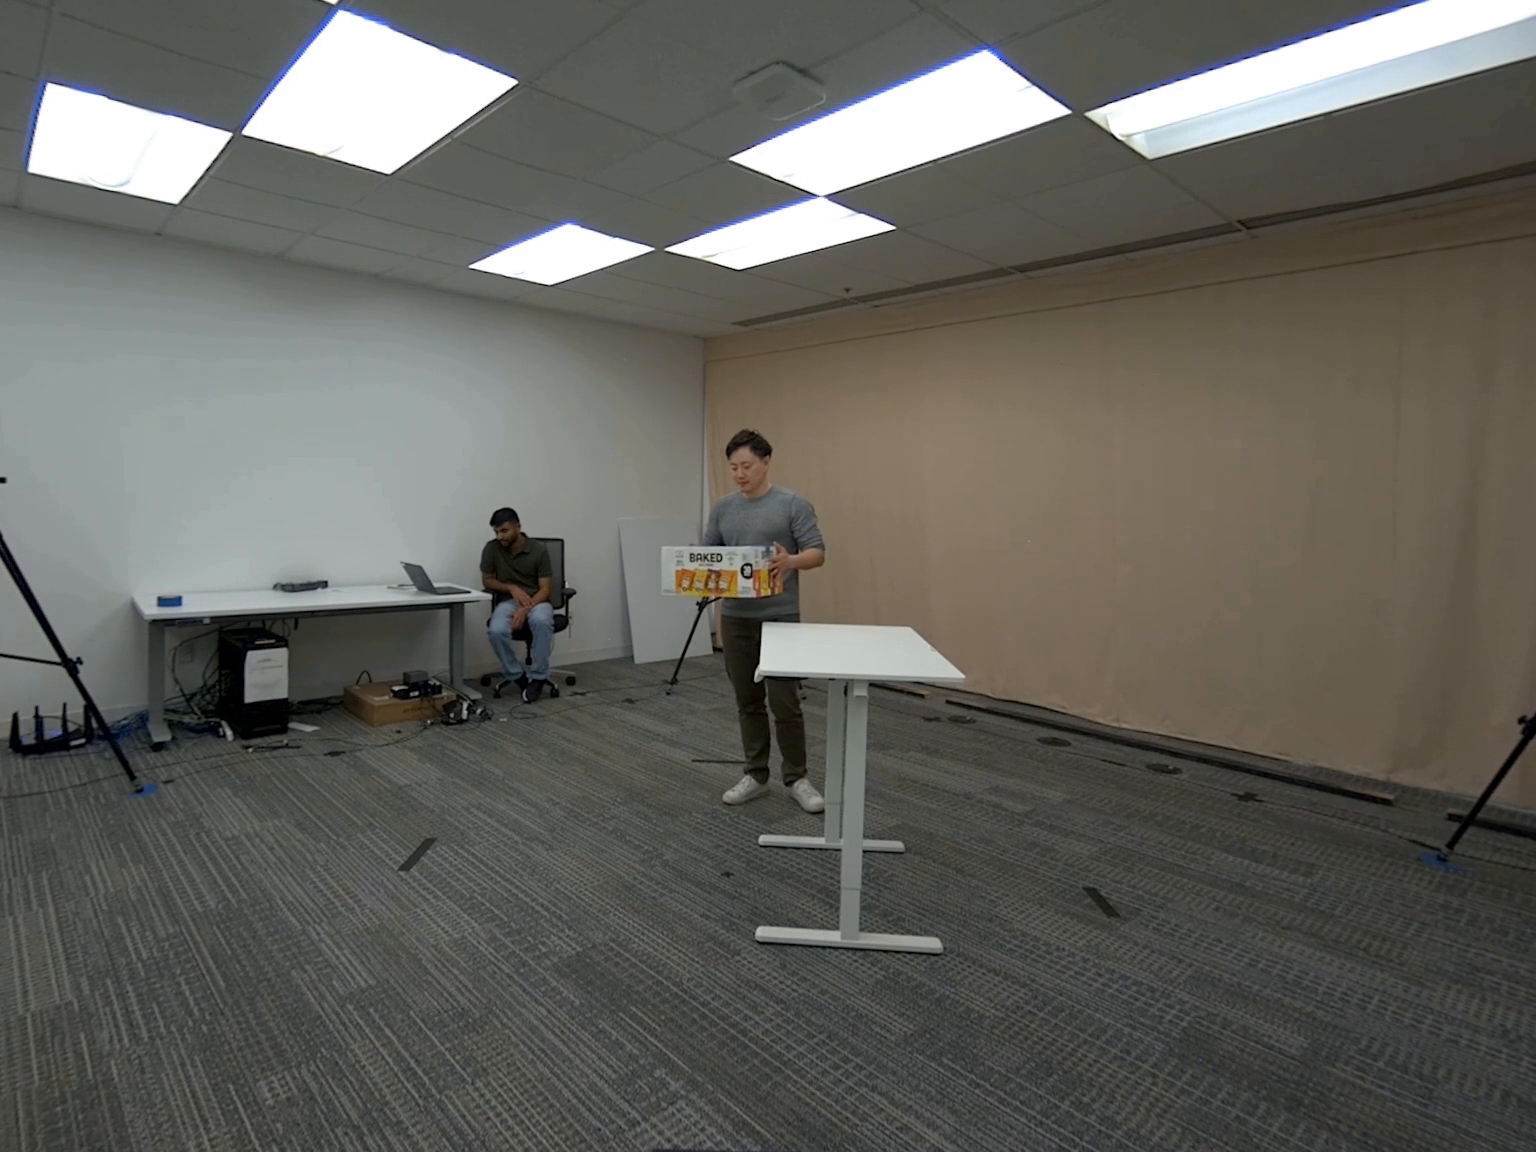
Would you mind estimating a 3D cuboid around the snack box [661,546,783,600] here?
[{"bbox_3d":[-0.192,-0.023,3.529,0.412,0.205,0.335,1,2,22],"label":"snack box"}]
